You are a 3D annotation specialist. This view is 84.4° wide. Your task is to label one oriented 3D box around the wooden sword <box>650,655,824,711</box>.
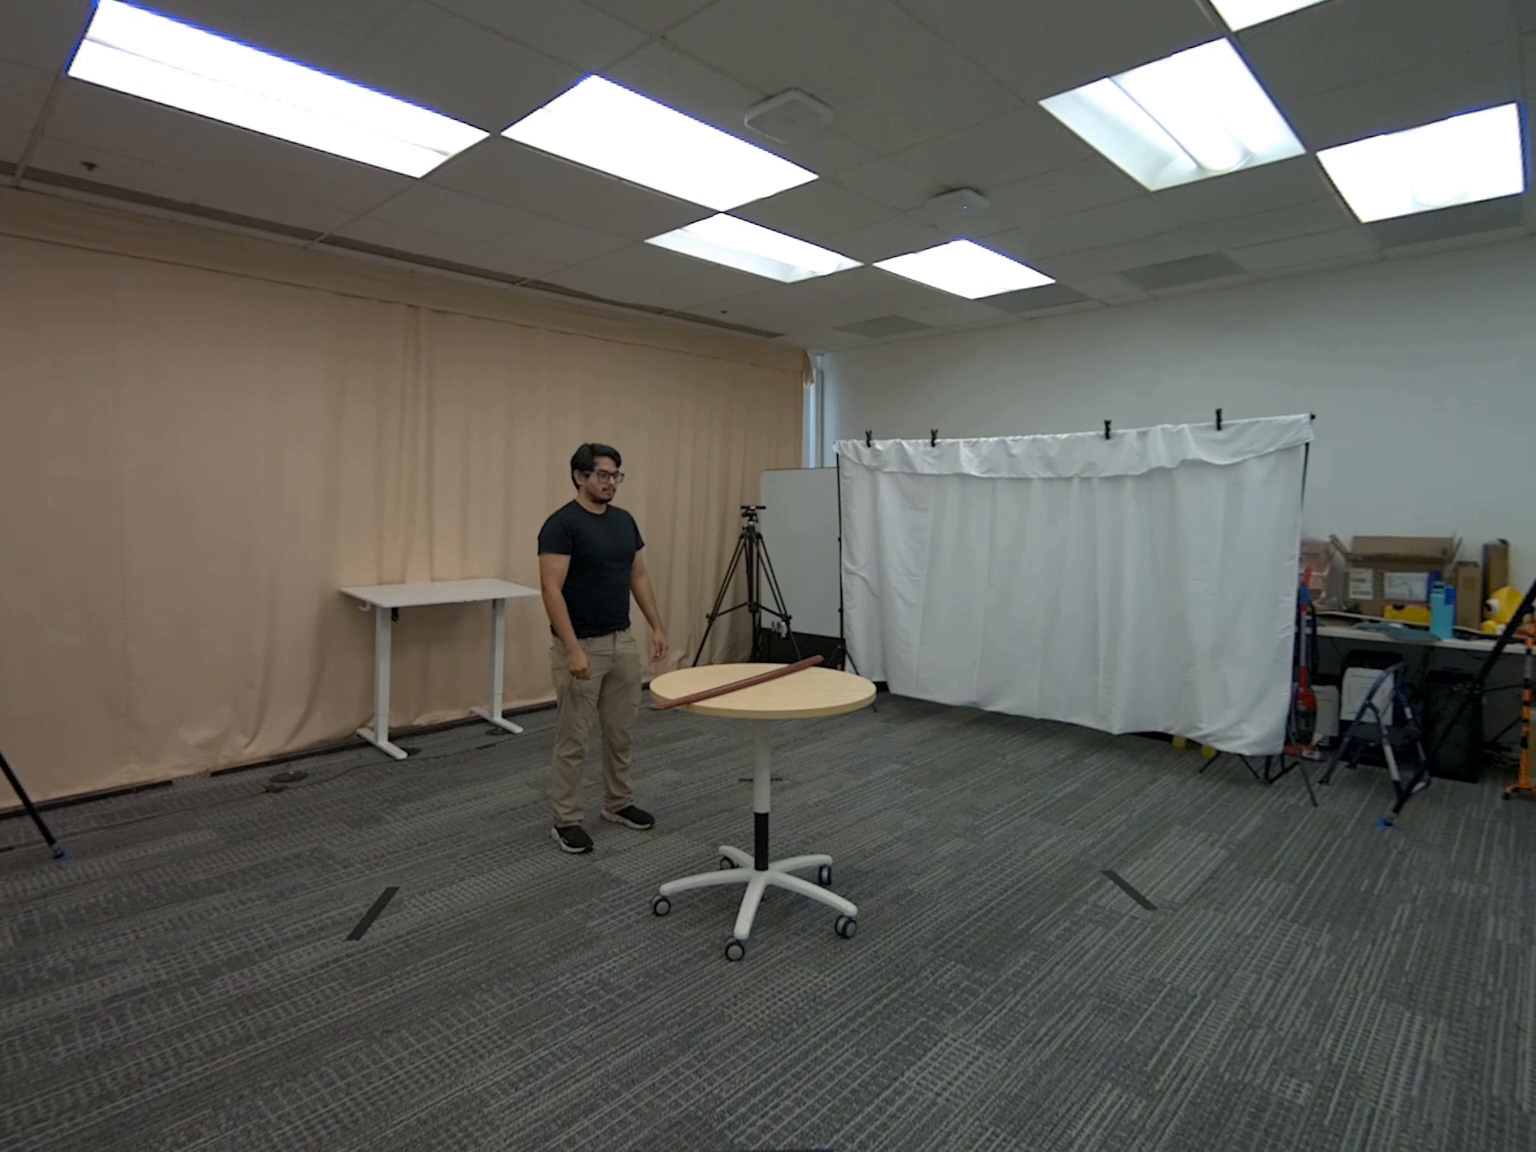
[{"bbox_3d":[-0.065,0.363,2.884,0.053,0.024,0.997,37,22,23],"label":"wooden sword"}]
